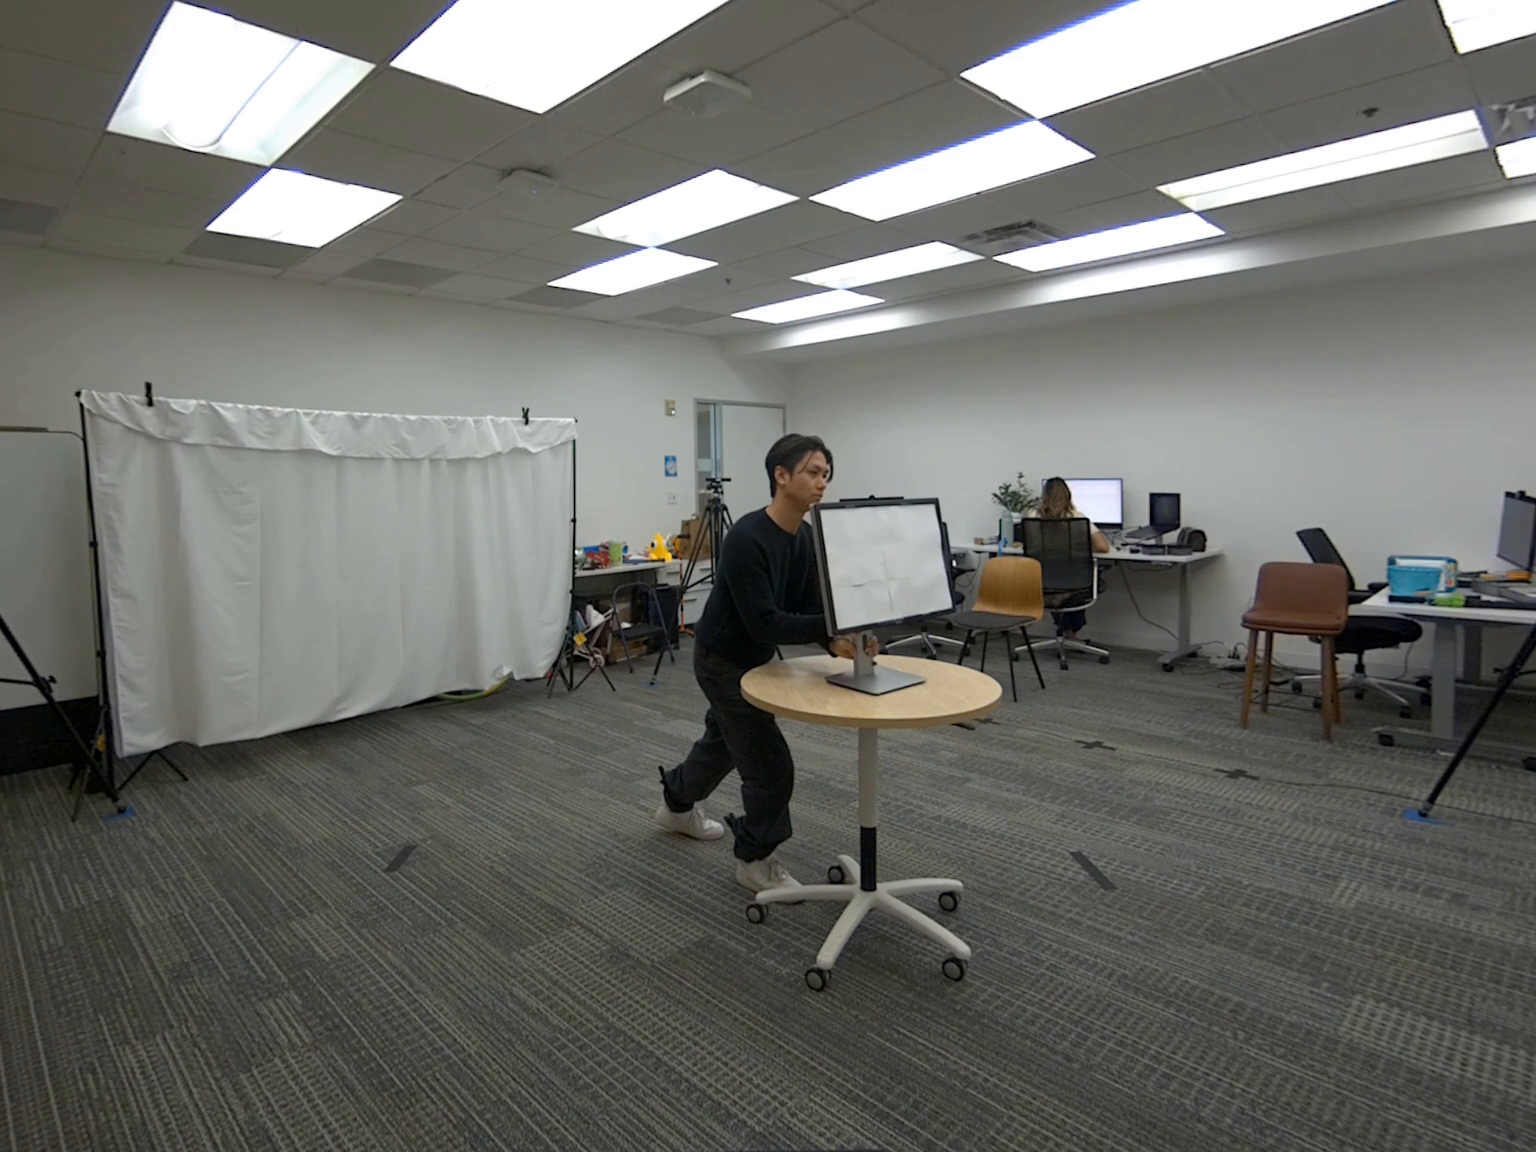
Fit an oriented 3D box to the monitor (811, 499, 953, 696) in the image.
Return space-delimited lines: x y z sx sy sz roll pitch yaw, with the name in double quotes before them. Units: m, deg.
"monitor" 0.326 0.047 2.523 0.515 0.512 0.180 -4 11 -43
